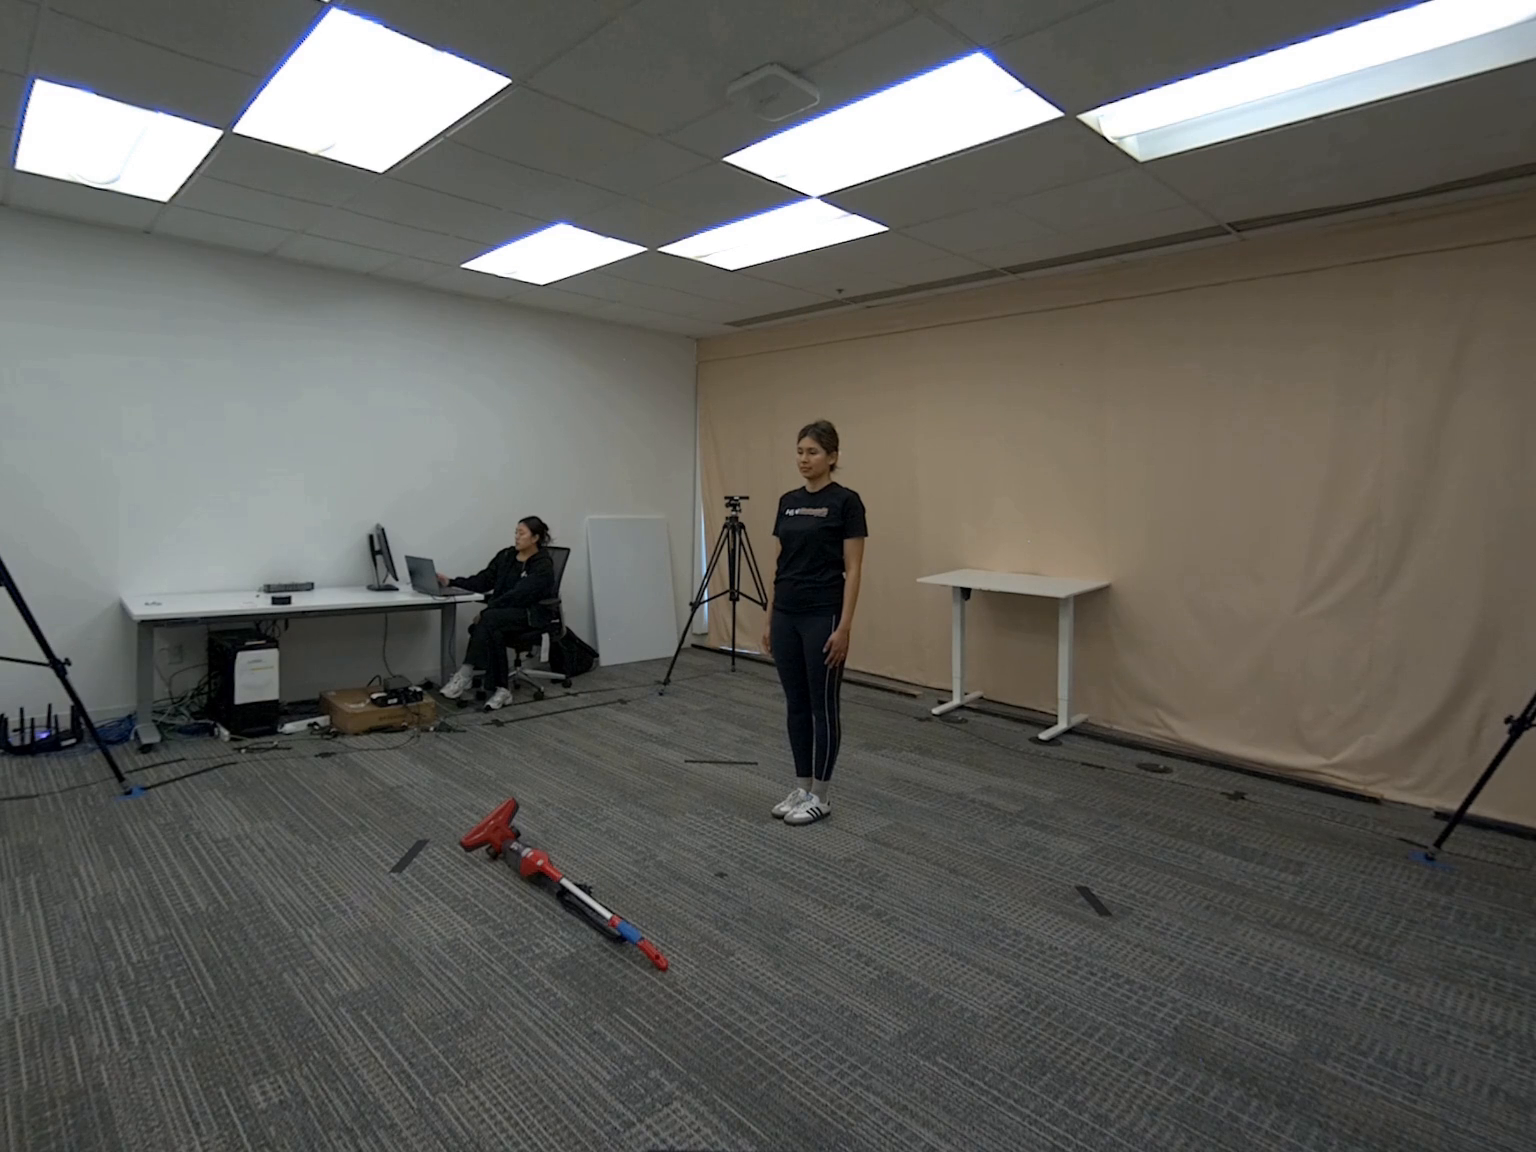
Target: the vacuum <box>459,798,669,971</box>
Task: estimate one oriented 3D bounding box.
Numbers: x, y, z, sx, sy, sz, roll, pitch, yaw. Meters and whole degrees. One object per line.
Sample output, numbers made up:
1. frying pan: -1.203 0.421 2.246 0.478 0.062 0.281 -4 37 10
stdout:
1. vacuum: -0.683 1.070 2.846 1.079 0.140 0.251 14 42 45
